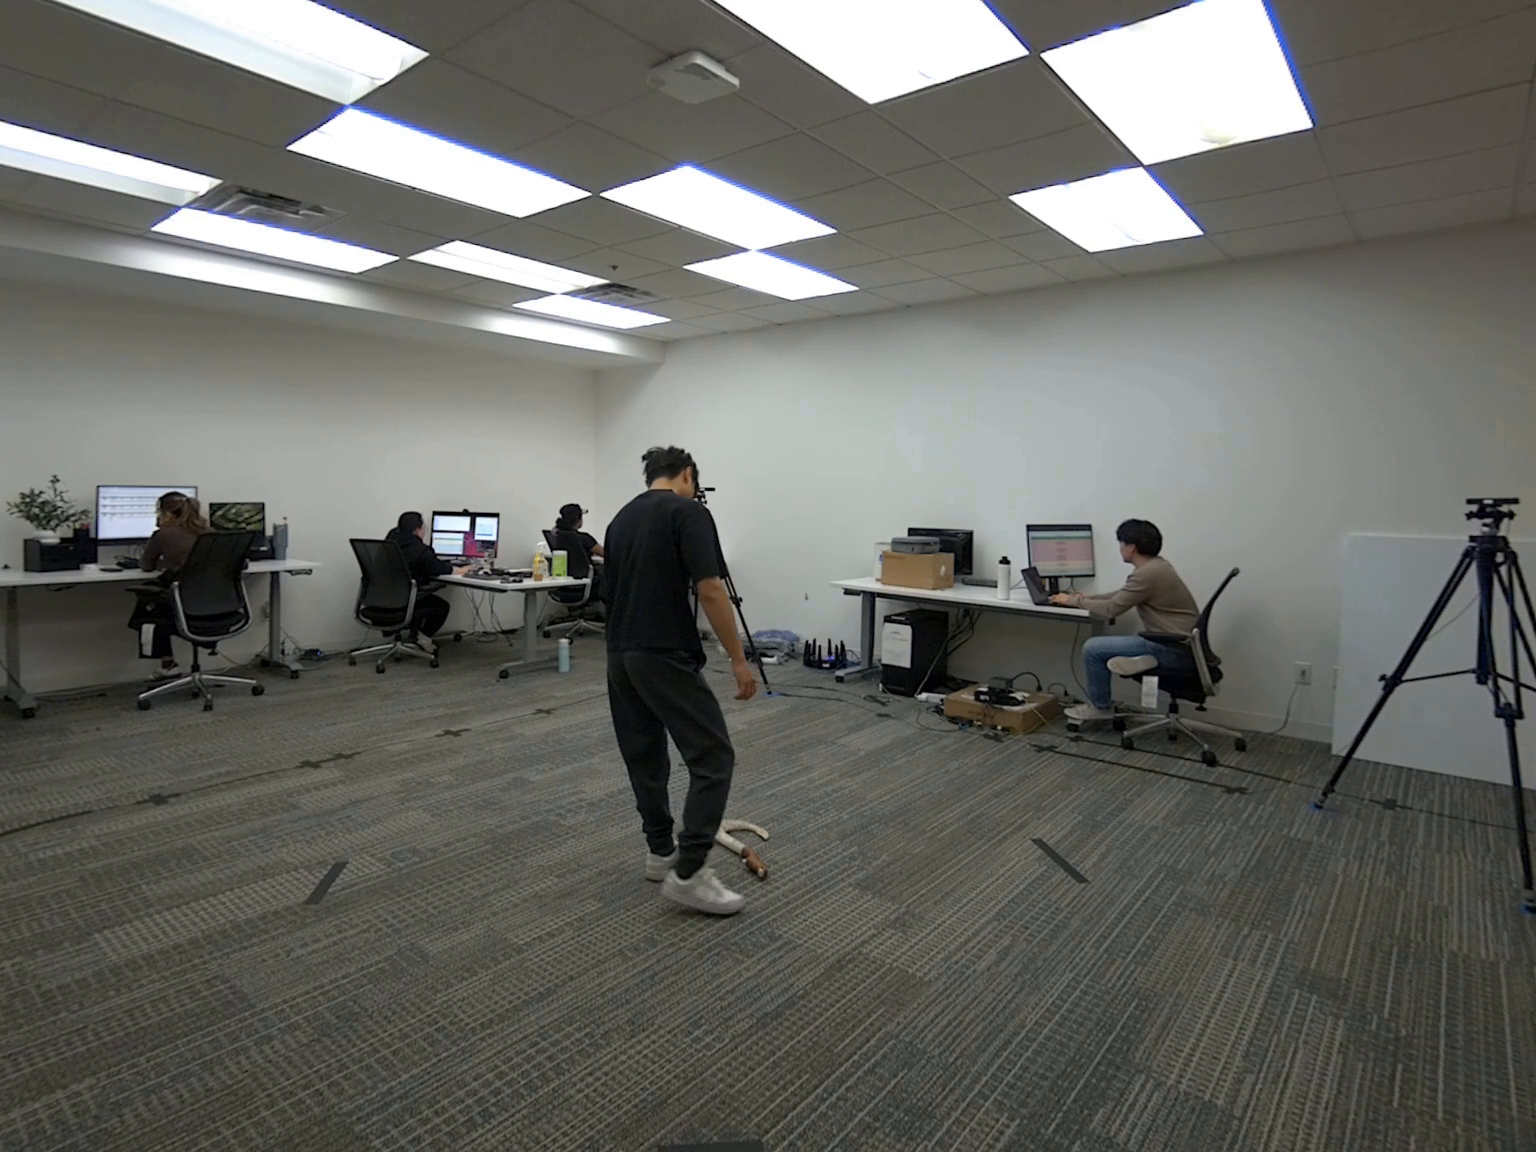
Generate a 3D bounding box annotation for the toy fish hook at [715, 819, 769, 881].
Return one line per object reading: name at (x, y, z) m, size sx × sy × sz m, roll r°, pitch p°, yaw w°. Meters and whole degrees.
toy fish hook at (-0.072, 1.028, 3.267) m, size 0.220 × 0.048 × 0.519 m, roll -2°, pitch 7°, yaw -22°
